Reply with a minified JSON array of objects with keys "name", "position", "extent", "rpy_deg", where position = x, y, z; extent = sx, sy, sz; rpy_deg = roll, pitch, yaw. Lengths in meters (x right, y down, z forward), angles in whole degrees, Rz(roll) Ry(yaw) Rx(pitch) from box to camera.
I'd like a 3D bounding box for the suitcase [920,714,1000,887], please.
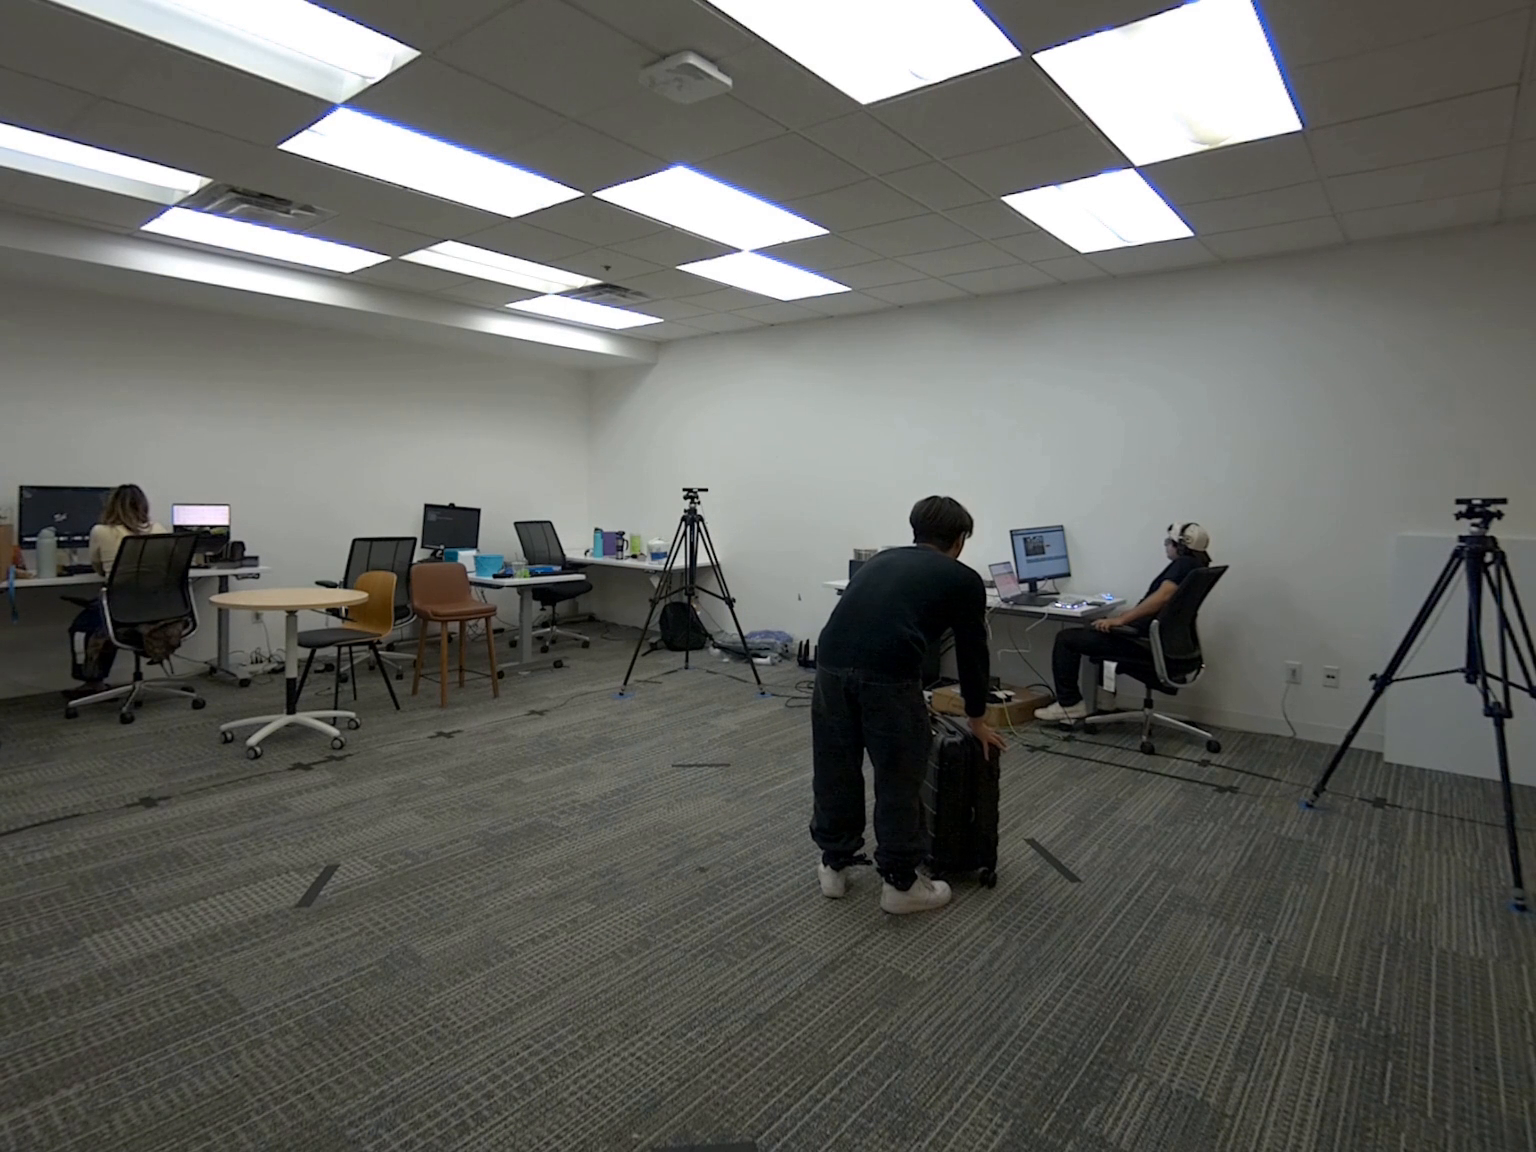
[{"name":"suitcase","position":[0.675,0.807,3.173],"extent":[0.246,0.548,0.381],"rpy_deg":[1,4,-11]}]
